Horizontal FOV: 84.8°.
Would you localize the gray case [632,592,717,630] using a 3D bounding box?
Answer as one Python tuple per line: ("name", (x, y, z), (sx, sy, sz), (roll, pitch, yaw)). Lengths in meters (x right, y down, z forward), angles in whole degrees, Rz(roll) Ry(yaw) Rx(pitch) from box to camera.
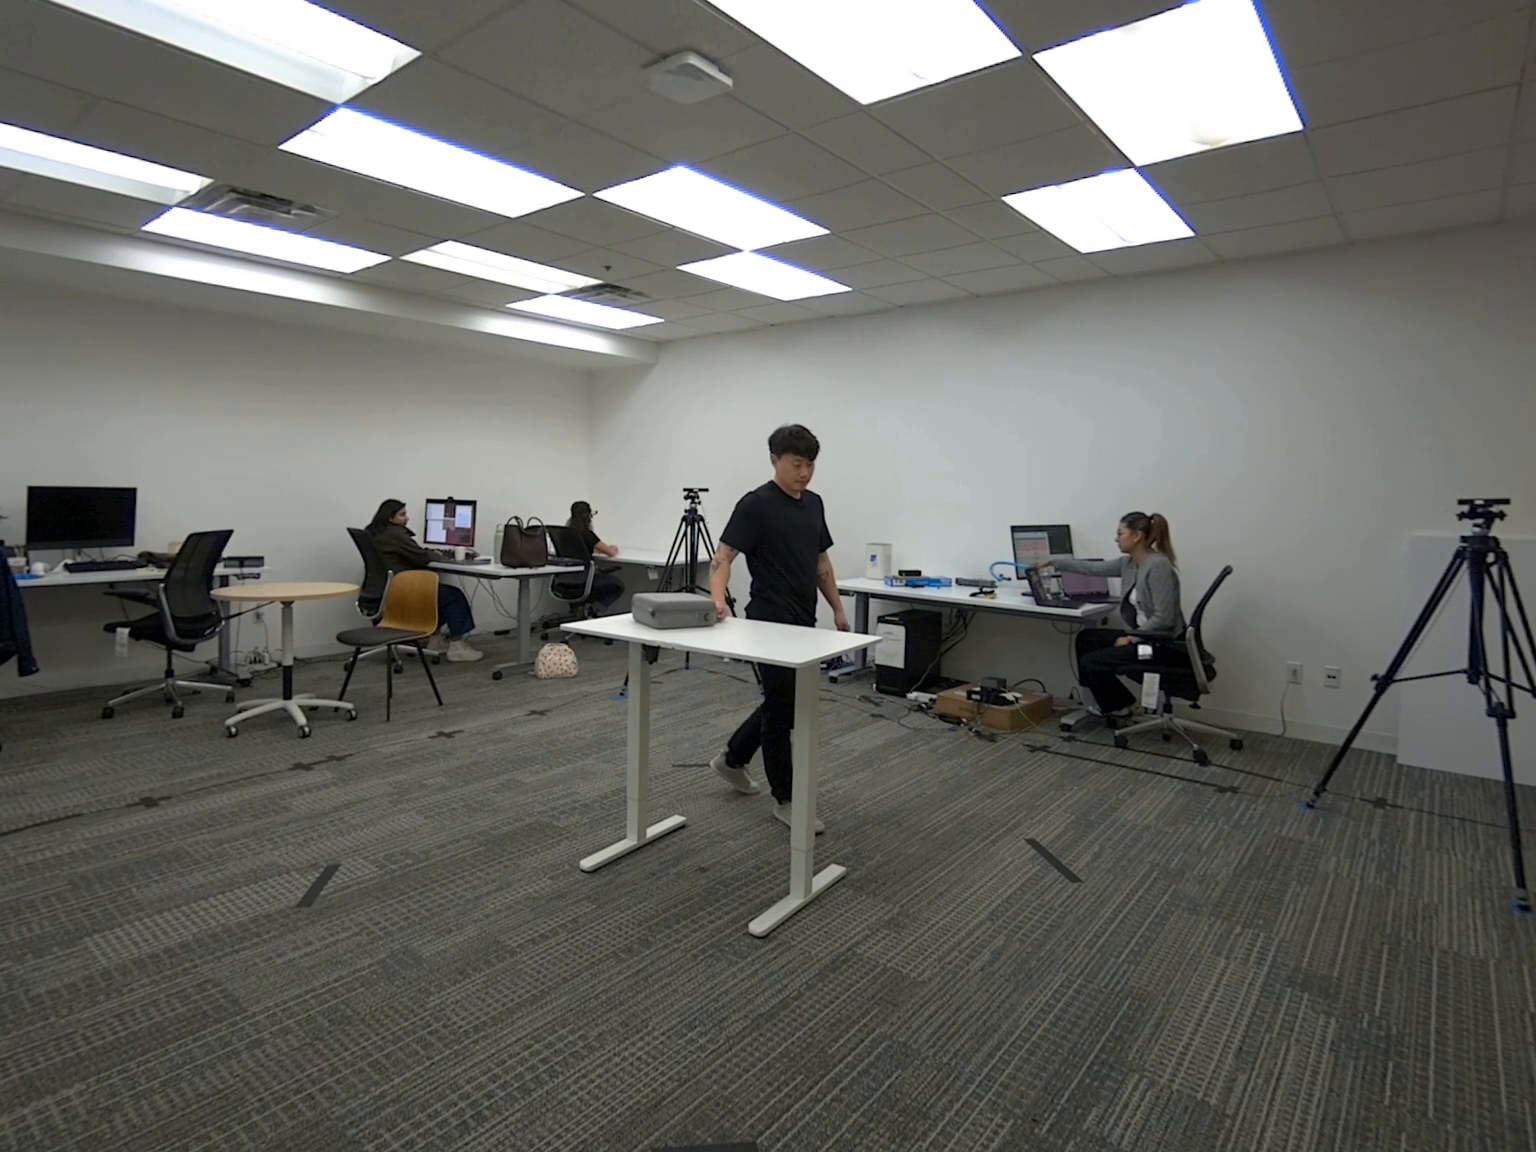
("gray case", (-0.361, 0.123, 3.185), (0.253, 0.104, 0.265), (-1, 5, -31))
